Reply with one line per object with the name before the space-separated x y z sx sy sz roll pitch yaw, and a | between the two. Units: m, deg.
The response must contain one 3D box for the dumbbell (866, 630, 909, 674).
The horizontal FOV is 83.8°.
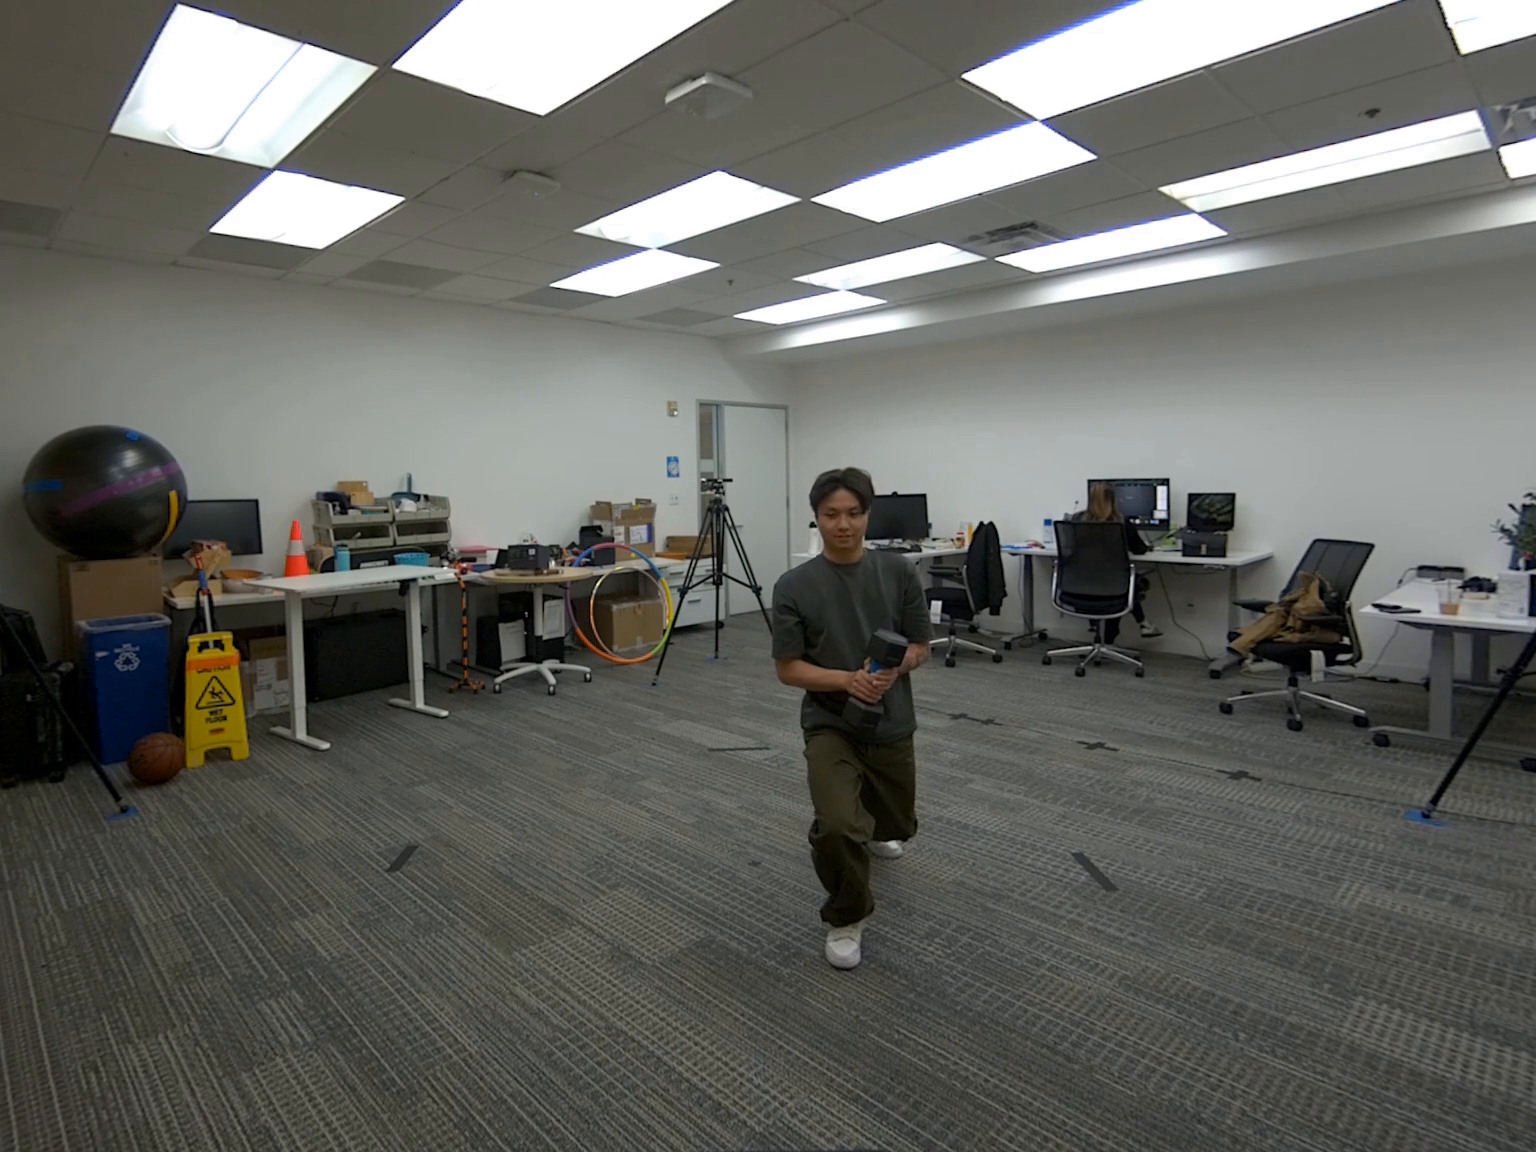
dumbbell | 0.316 0.304 2.506 0.127 0.292 0.105 26 11 39
